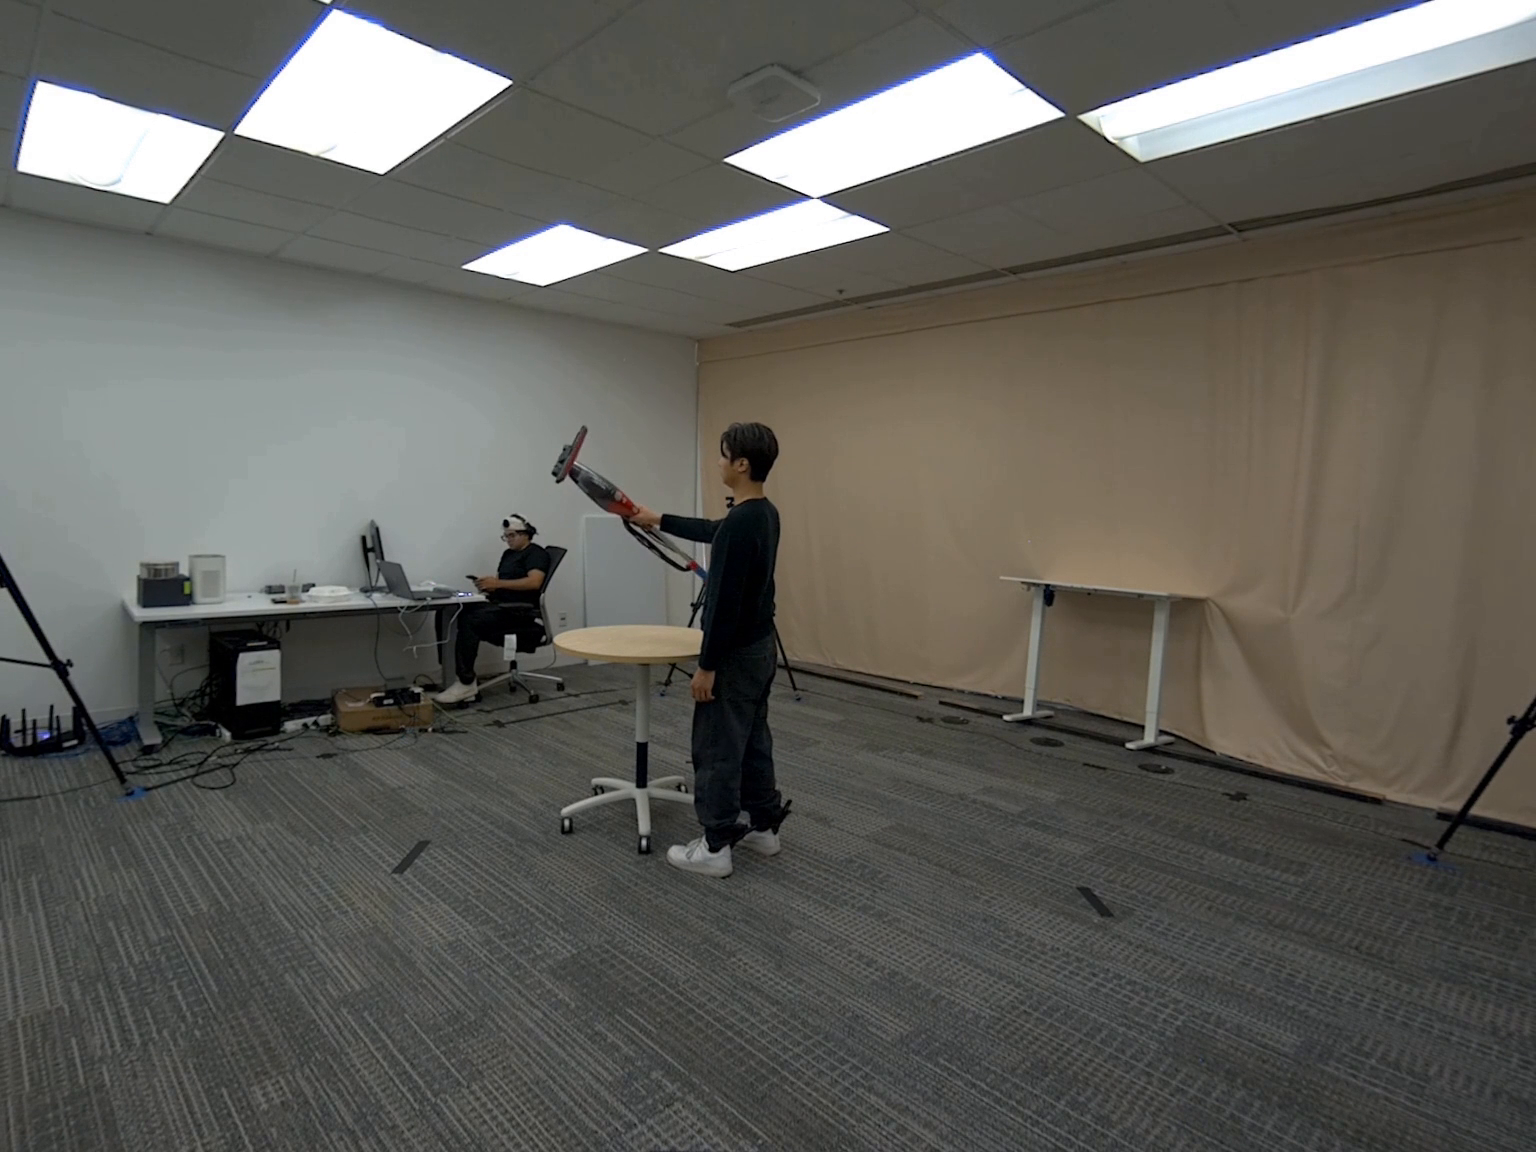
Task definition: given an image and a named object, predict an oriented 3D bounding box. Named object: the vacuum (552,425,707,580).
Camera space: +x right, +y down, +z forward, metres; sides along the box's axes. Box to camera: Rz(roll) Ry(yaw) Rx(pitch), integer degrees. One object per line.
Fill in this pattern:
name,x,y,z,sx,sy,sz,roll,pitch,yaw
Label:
vacuum,-0.533,-0.202,3.611,0.147,0.255,1.016,-3,-33,36
